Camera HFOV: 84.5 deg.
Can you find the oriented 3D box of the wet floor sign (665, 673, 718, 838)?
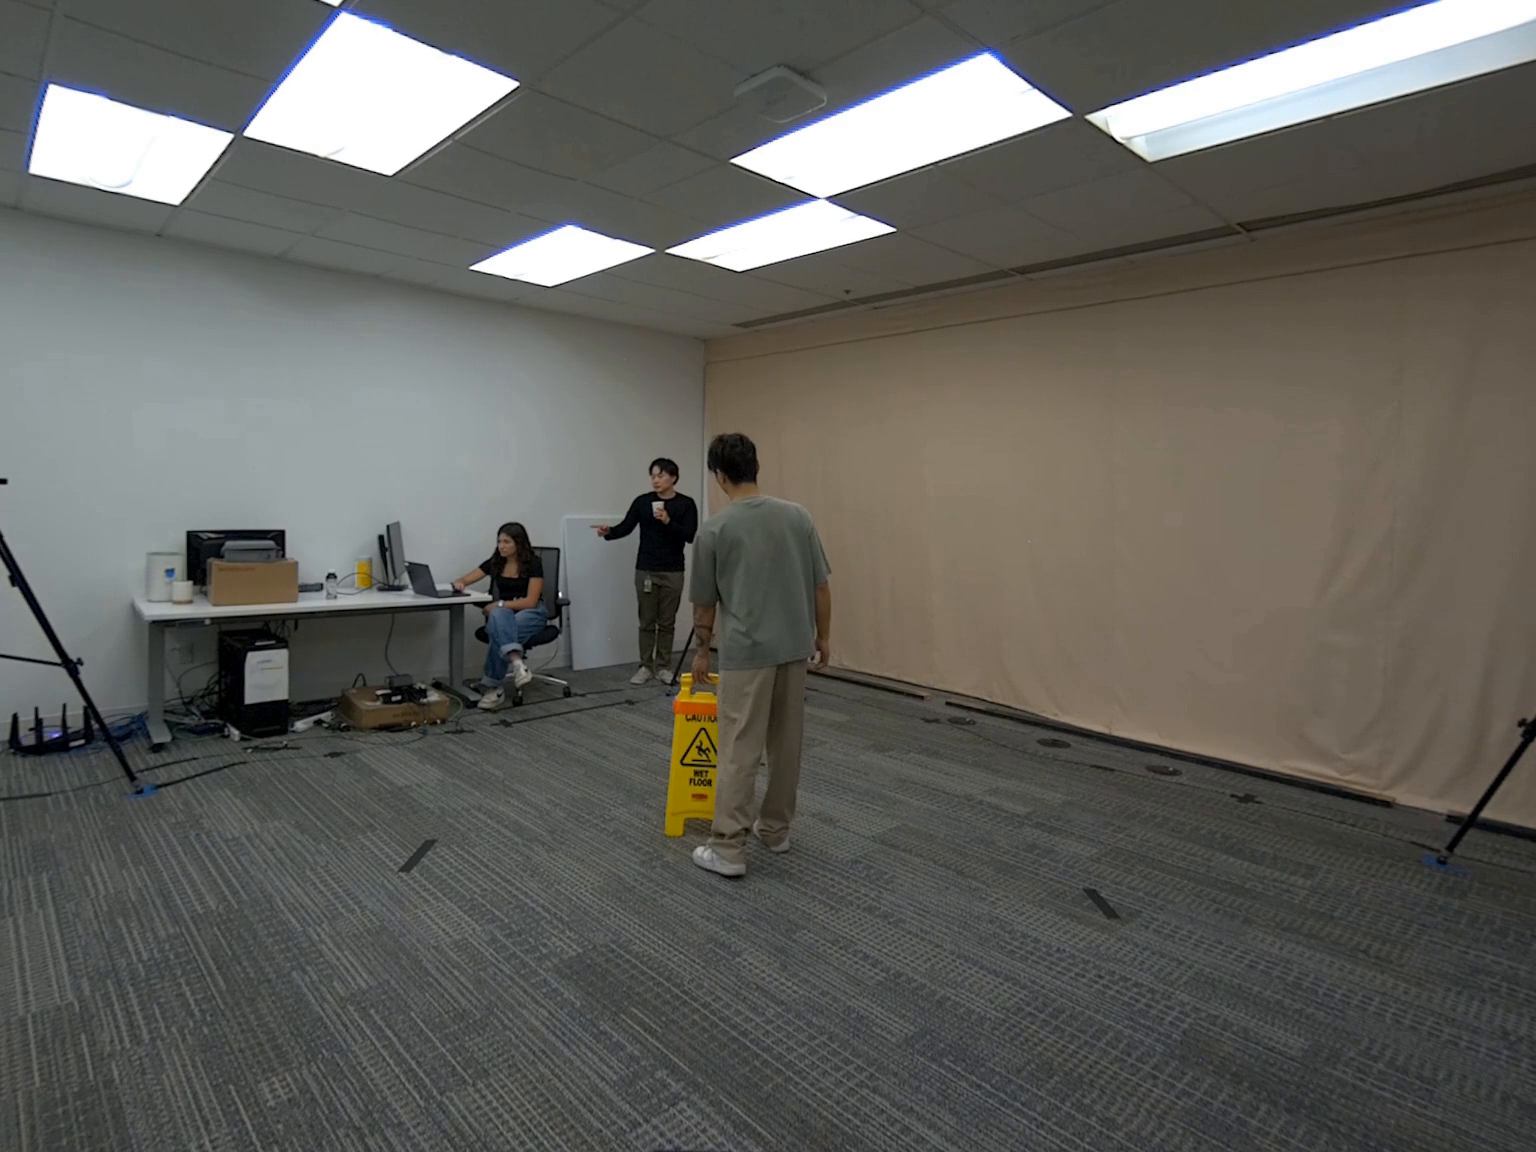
[{"bbox_3d":[-0.289,0.733,3.560,0.283,0.645,0.290,1,3,2],"label":"wet floor sign"}]
